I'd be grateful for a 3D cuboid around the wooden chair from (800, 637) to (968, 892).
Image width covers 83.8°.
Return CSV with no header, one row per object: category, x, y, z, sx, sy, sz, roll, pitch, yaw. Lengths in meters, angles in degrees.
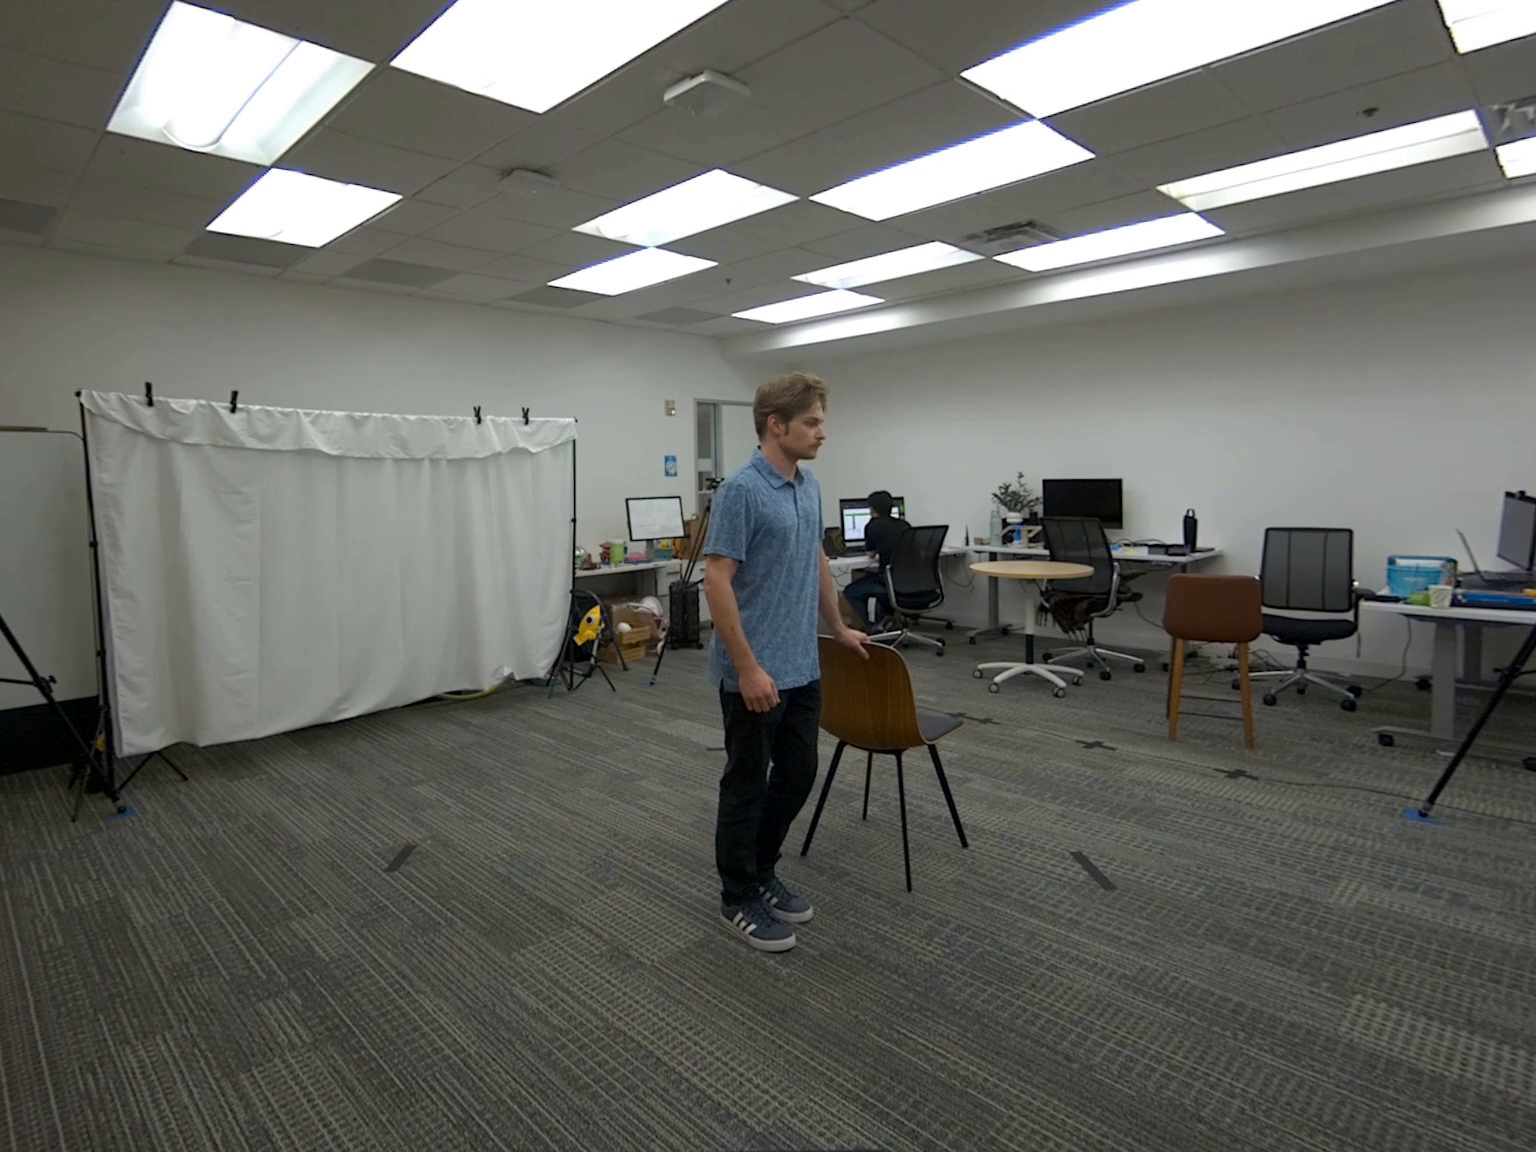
wooden chair,0.432,0.598,3.156,0.492,0.871,0.511,2,10,39
